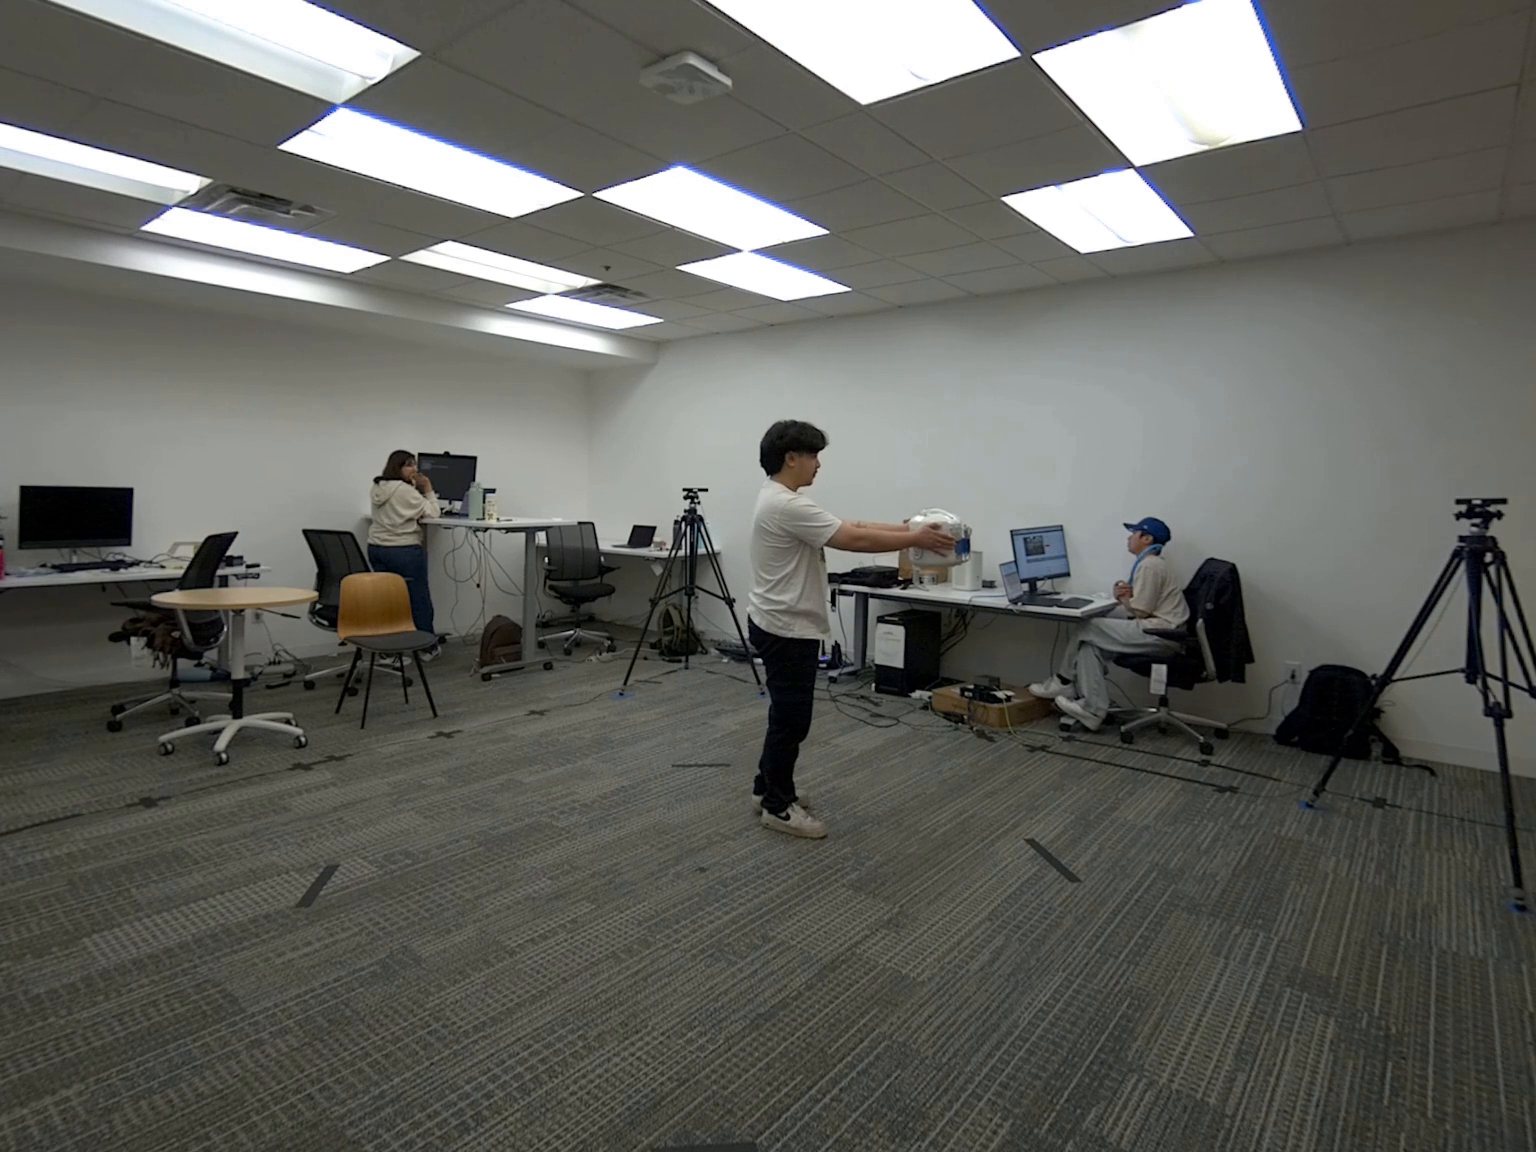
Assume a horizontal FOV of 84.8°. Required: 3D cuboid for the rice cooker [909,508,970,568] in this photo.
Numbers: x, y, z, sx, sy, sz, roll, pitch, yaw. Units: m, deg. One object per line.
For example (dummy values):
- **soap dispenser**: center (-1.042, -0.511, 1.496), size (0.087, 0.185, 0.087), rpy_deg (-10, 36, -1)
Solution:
- **rice cooker**: center (0.677, -0.156, 3.451), size (0.212, 0.231, 0.228), rpy_deg (-6, 7, -34)
